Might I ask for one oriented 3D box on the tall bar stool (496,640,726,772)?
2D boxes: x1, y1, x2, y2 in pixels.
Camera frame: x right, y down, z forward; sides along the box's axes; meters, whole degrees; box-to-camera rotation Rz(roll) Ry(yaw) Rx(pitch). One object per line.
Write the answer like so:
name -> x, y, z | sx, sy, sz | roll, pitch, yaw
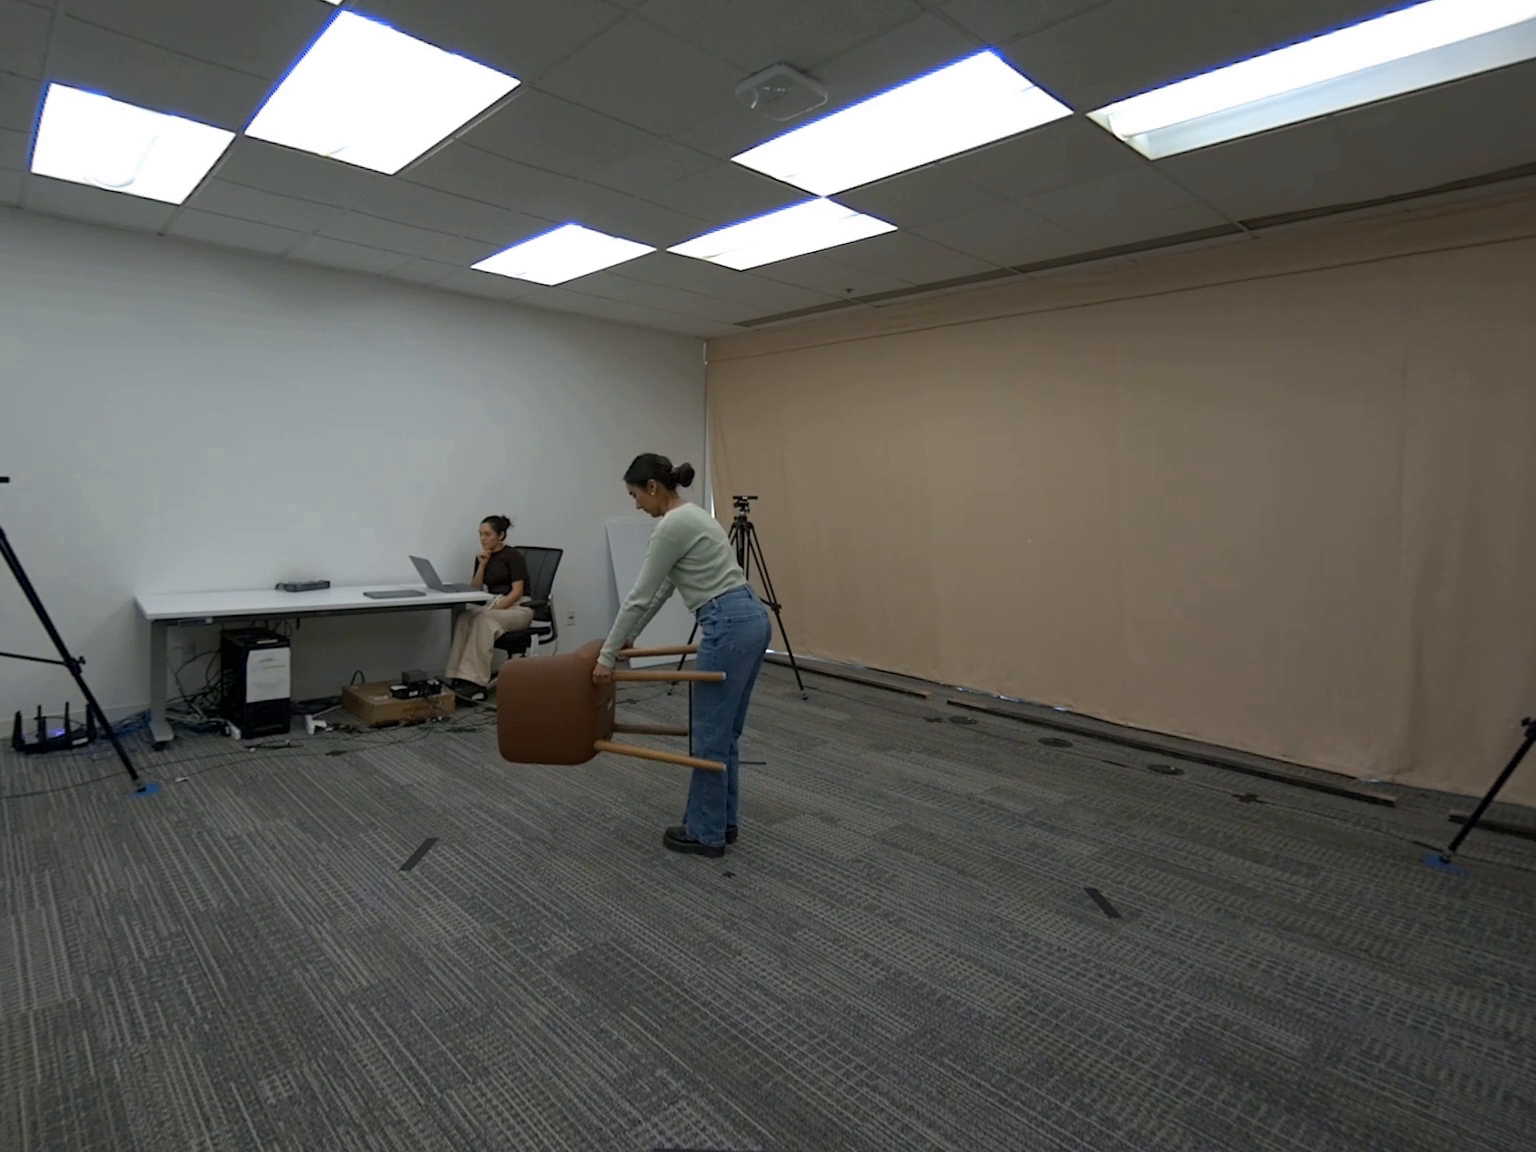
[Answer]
tall bar stool -> -0.577, 0.509, 3.372 | 0.894, 0.454, 0.468 | 0, 8, 6
